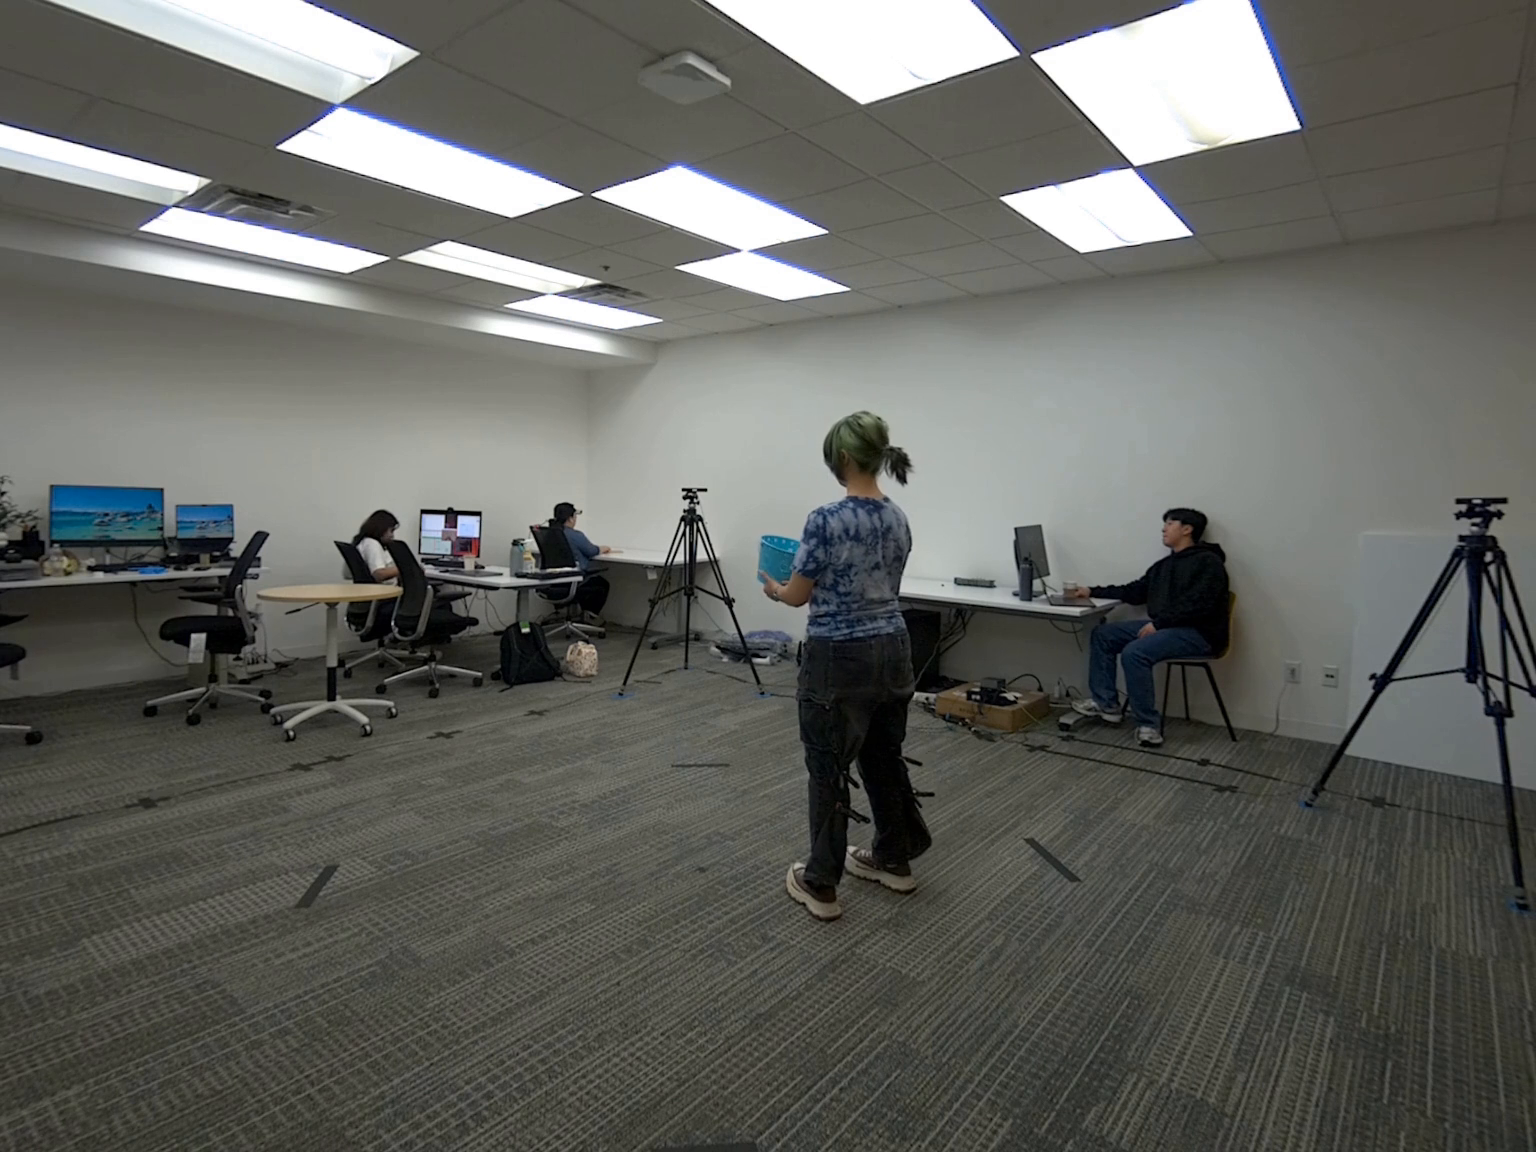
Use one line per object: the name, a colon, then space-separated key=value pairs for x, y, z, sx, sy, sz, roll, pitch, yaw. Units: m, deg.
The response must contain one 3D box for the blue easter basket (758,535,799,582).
blue easter basket: x=0.062 y=-0.040 z=3.163 sx=0.242 sy=0.154 sz=0.247 roll=11 pitch=13 yaw=-4
